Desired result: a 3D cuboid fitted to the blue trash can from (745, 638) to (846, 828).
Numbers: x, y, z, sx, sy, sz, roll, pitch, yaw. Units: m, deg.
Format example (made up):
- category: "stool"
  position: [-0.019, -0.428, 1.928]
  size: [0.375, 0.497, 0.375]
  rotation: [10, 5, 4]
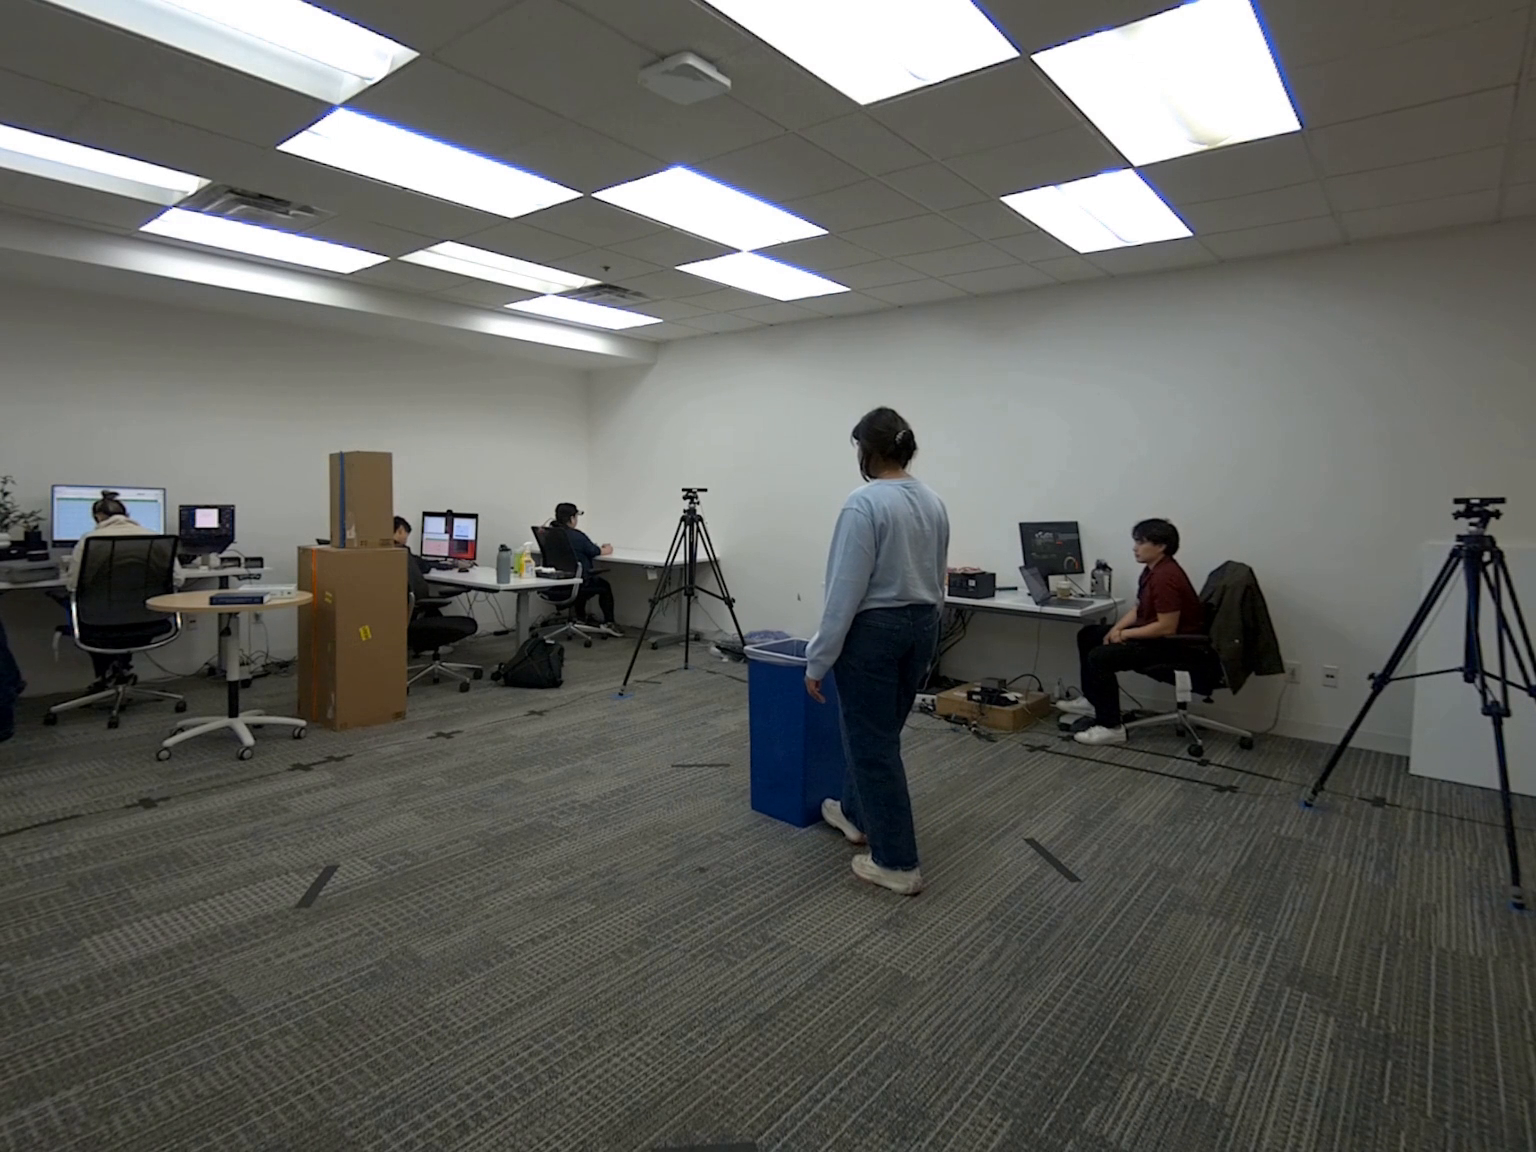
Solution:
- category: "blue trash can"
  position: [0.118, 0.662, 3.701]
  size: [0.387, 0.711, 0.367]
  rotation: [4, 5, 42]
